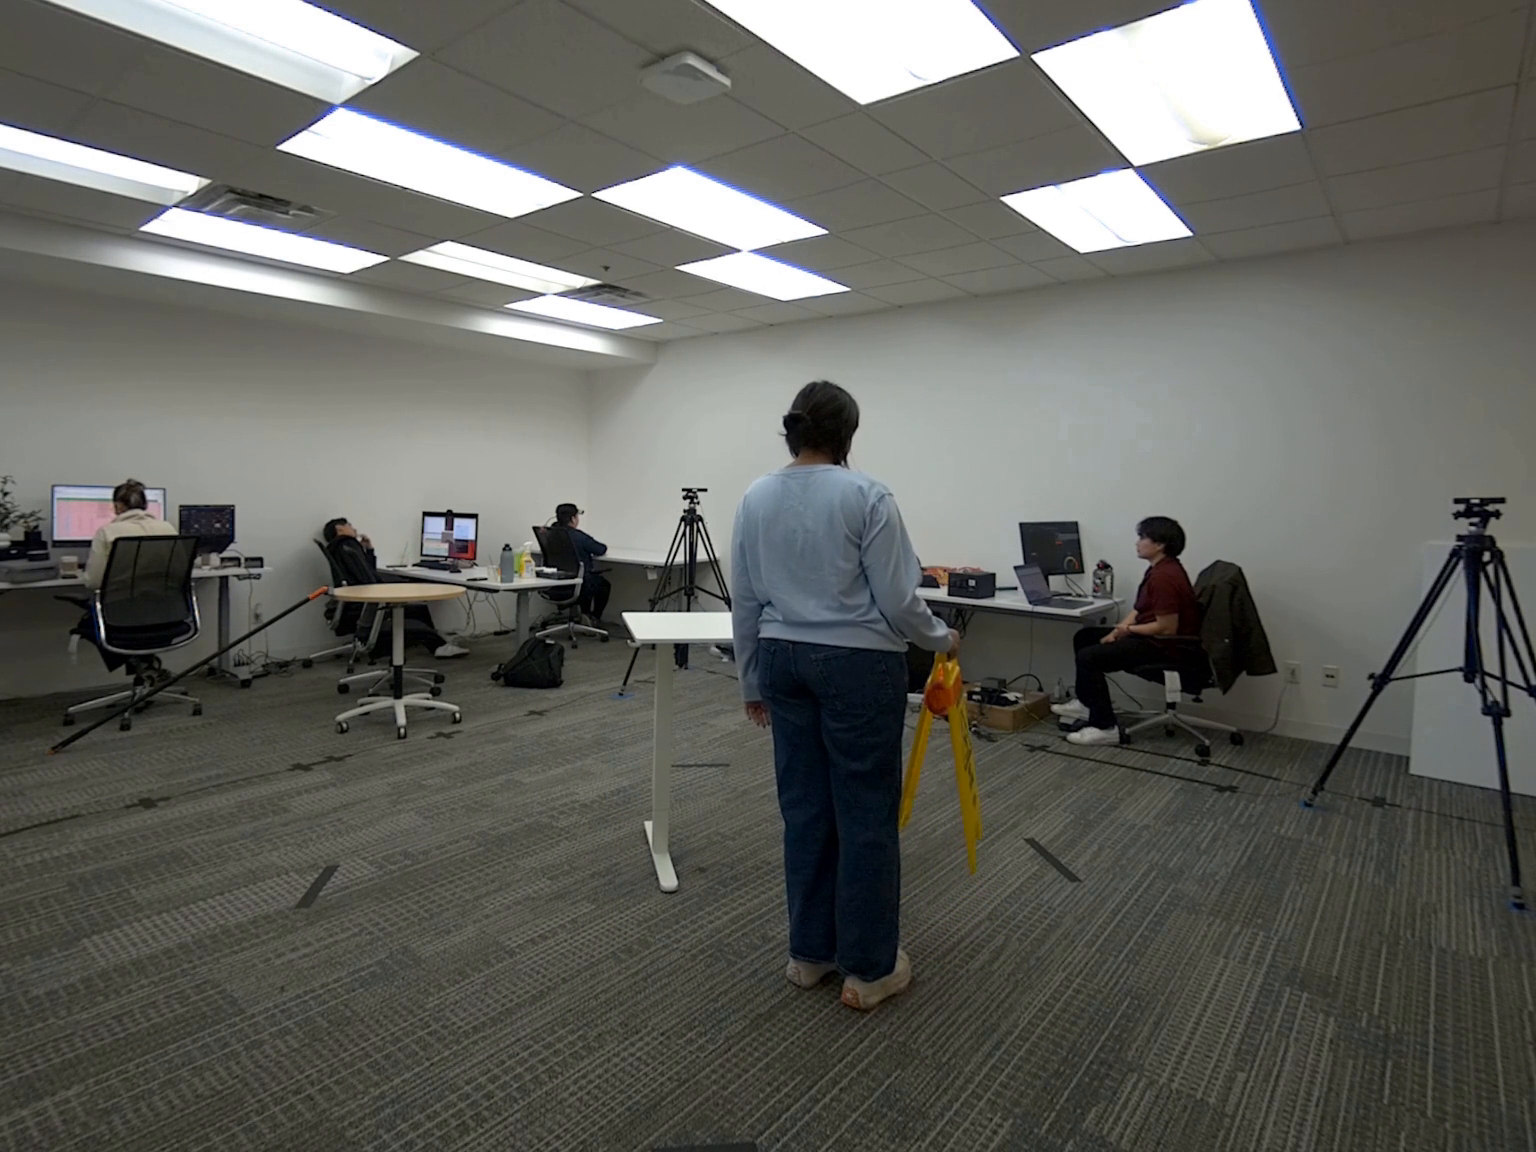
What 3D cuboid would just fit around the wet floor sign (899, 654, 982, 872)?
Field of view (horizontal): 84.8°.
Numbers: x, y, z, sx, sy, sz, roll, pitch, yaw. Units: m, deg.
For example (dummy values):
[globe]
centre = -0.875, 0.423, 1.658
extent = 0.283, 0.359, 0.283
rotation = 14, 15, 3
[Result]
[wet floor sign]
centre = 0.517, 0.503, 2.557
extent = 0.296, 0.640, 0.279
rotation = 4, 10, 20
